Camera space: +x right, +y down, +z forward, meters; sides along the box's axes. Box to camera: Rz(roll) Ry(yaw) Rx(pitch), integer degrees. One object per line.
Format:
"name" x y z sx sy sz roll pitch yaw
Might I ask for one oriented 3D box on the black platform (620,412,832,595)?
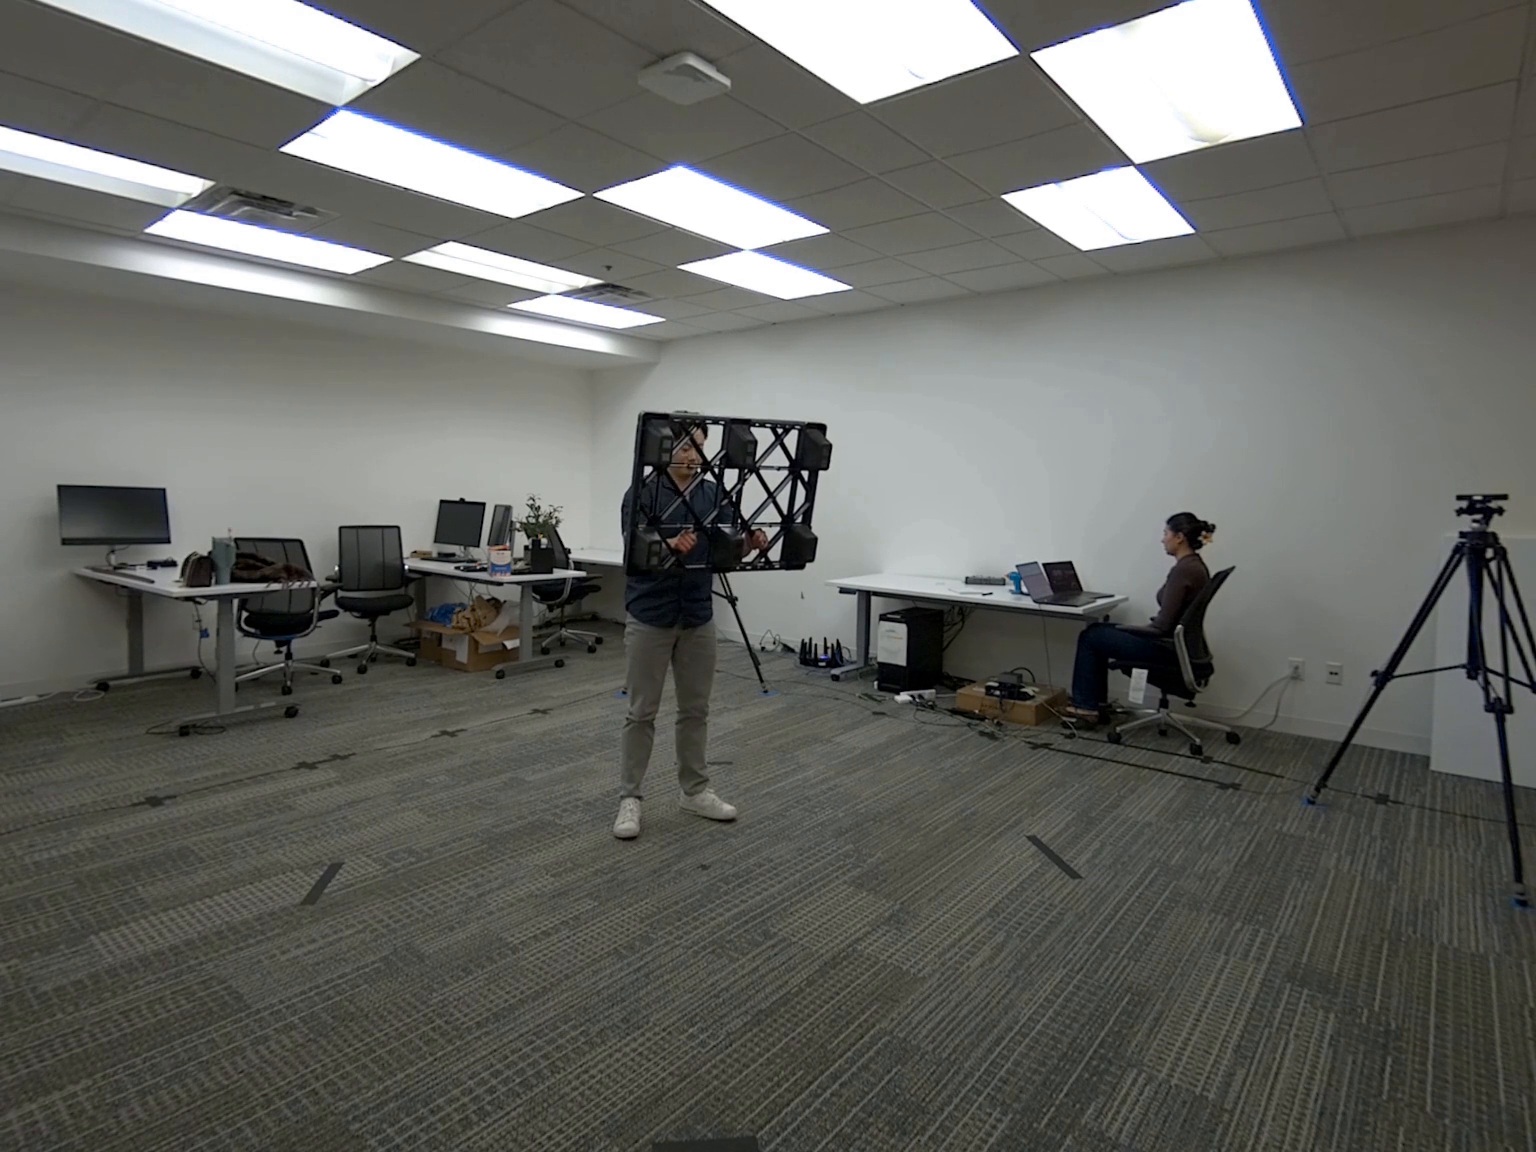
"black platform" -0.131 -0.288 3.160 0.784 0.598 0.149 -2 16 -31
